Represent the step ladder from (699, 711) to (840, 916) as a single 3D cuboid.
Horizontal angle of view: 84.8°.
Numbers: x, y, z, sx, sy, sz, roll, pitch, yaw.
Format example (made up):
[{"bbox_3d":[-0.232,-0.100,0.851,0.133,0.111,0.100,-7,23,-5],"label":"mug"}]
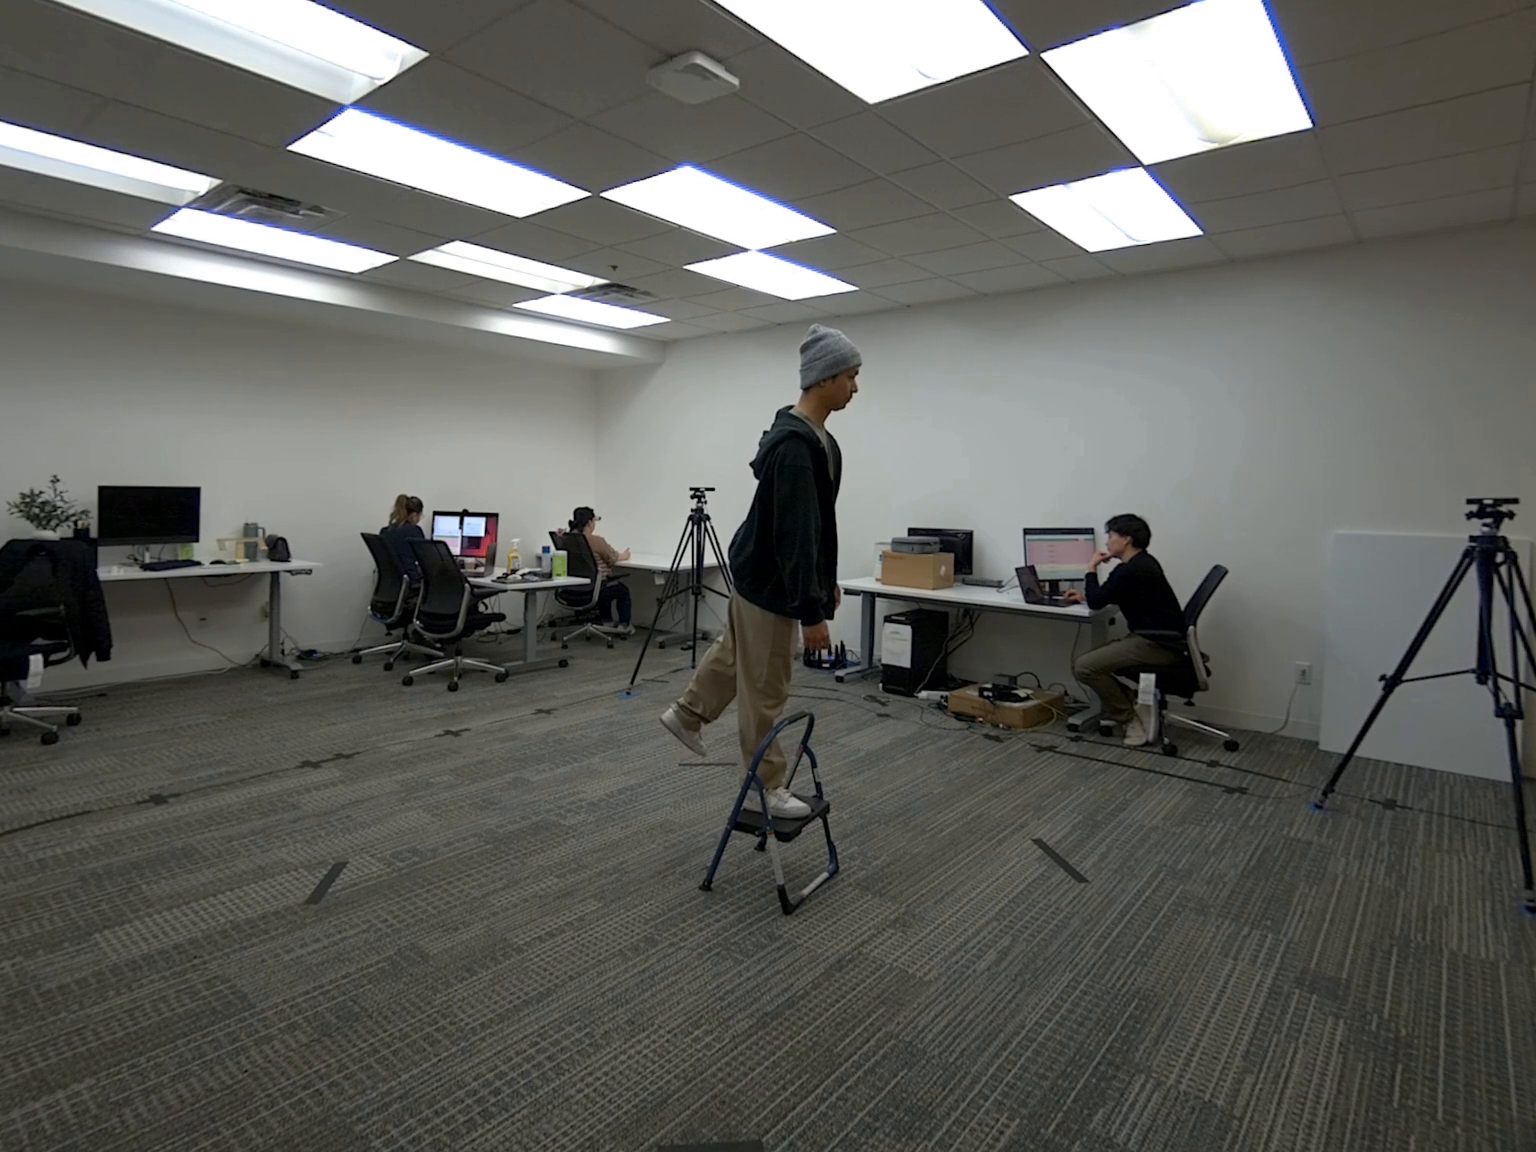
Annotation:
[{"bbox_3d":[0.015,0.778,3.018,0.359,0.604,0.420,4,4,29],"label":"step ladder"}]
